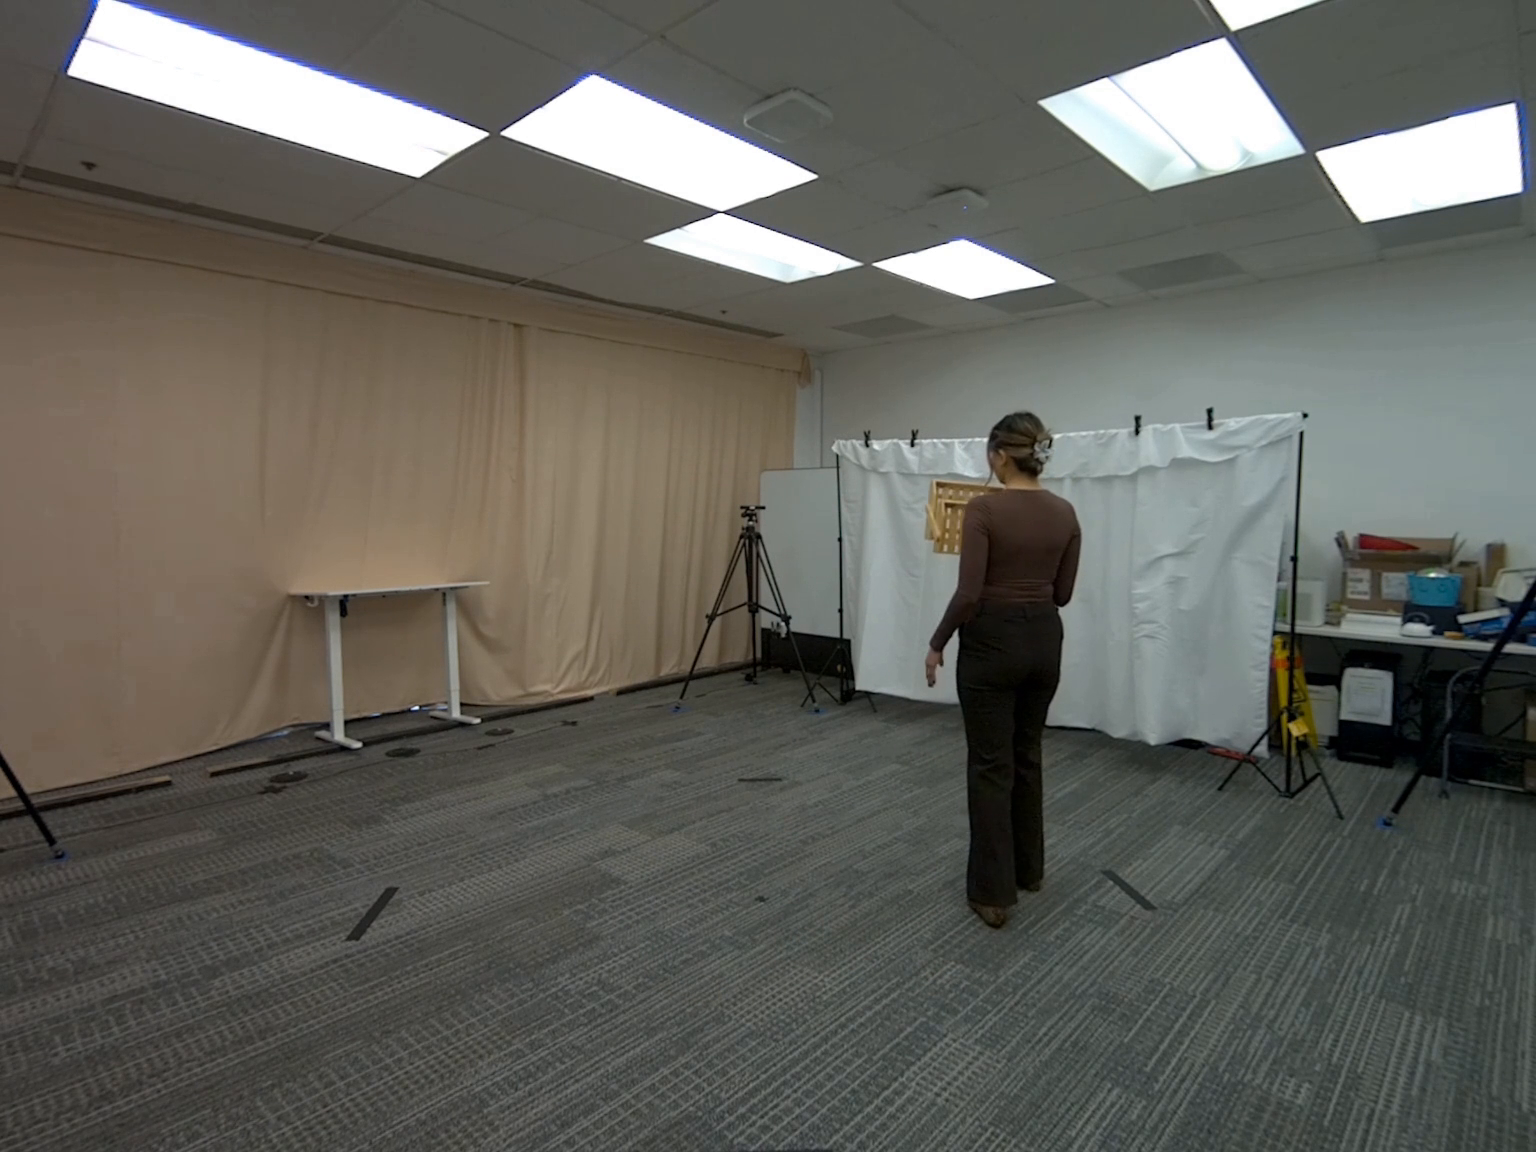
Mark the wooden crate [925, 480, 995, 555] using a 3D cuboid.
[{"bbox_3d":[0.833,-0.229,3.376,0.324,0.302,0.274,5,1,-1],"label":"wooden crate"}]
